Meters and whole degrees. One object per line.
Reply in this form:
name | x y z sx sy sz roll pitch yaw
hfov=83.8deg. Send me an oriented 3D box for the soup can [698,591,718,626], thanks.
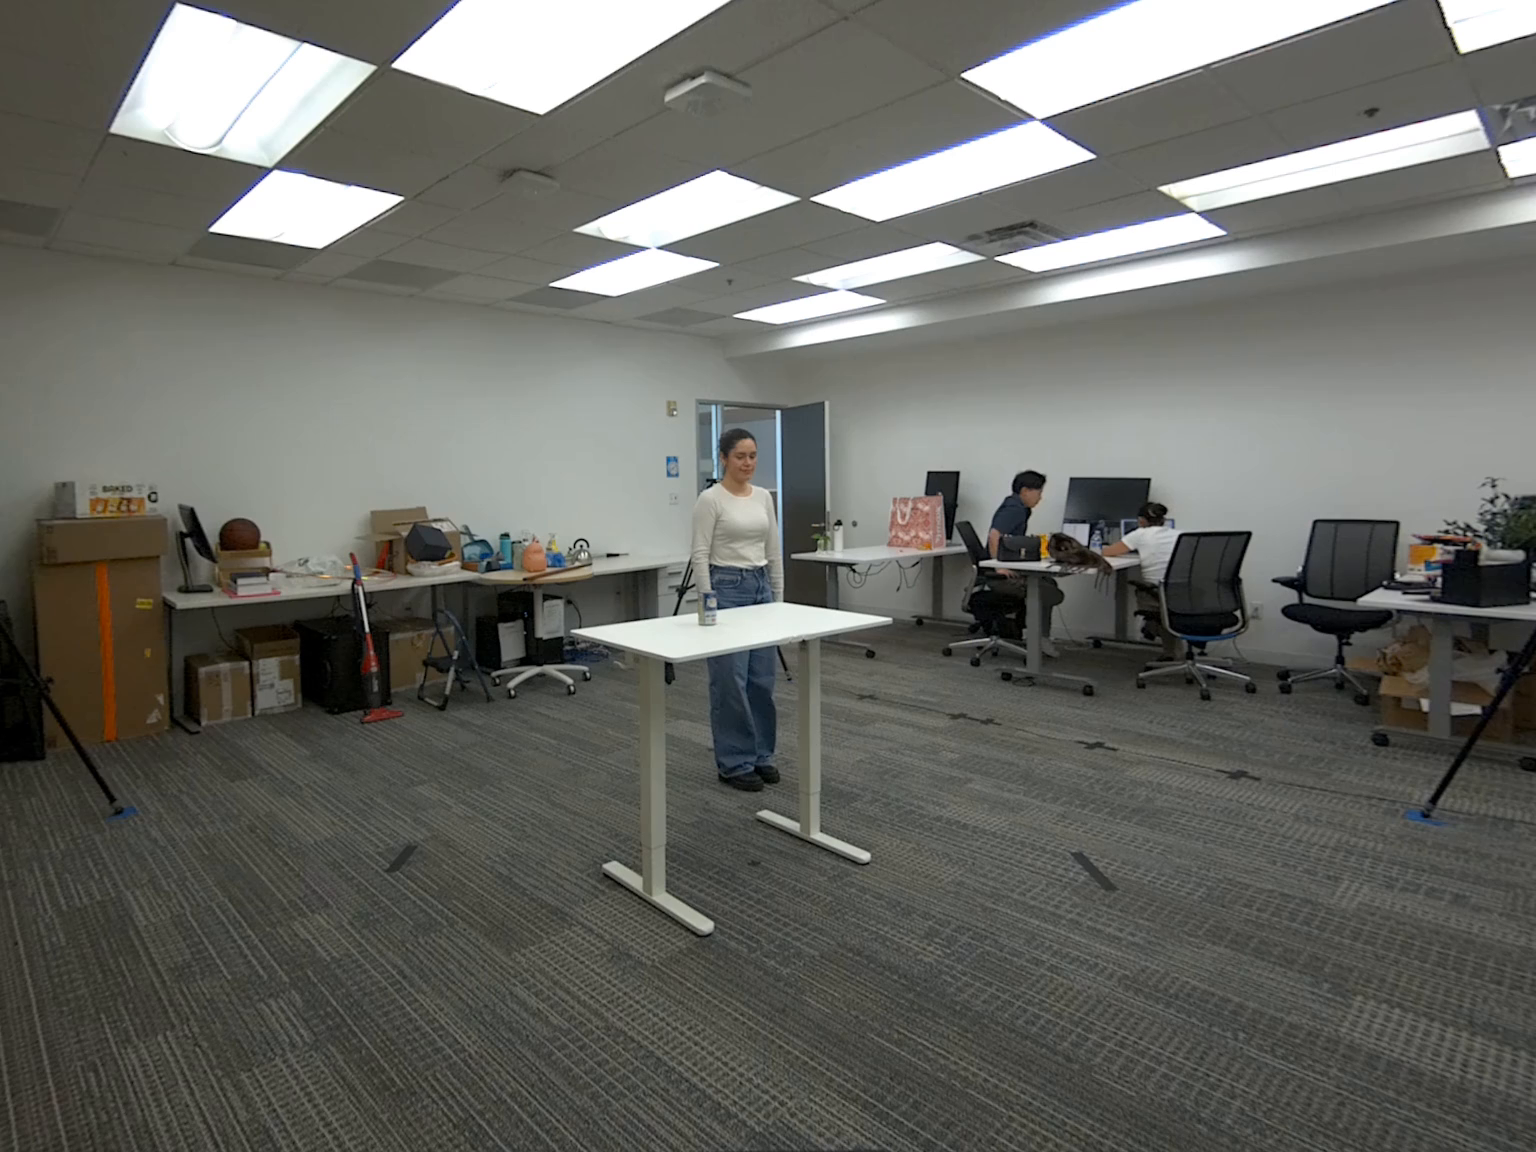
soup can | -0.221 0.117 3.039 0.067 0.121 0.067 -2 1 -2
